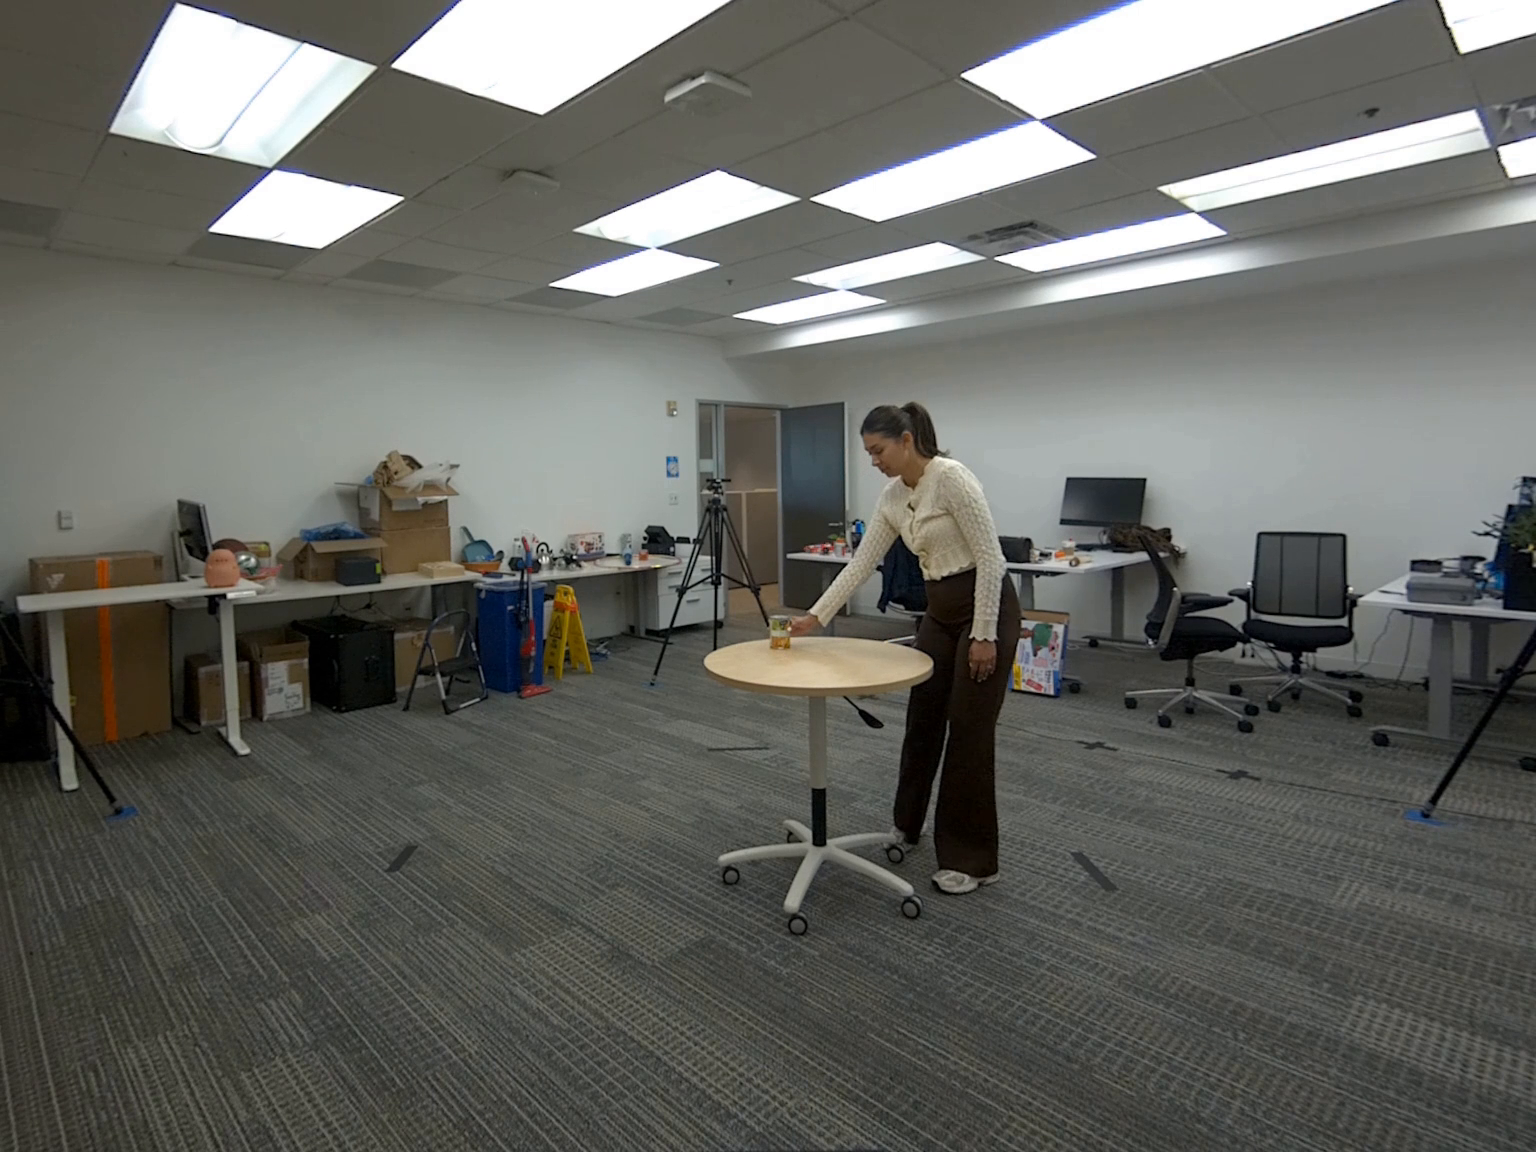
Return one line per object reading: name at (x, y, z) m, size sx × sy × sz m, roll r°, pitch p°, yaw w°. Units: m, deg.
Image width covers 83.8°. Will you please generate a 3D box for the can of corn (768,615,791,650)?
can of corn at (0.052, 0.205, 3.085) m, size 0.074 × 0.110 × 0.074 m, roll 2°, pitch 5°, yaw -2°
